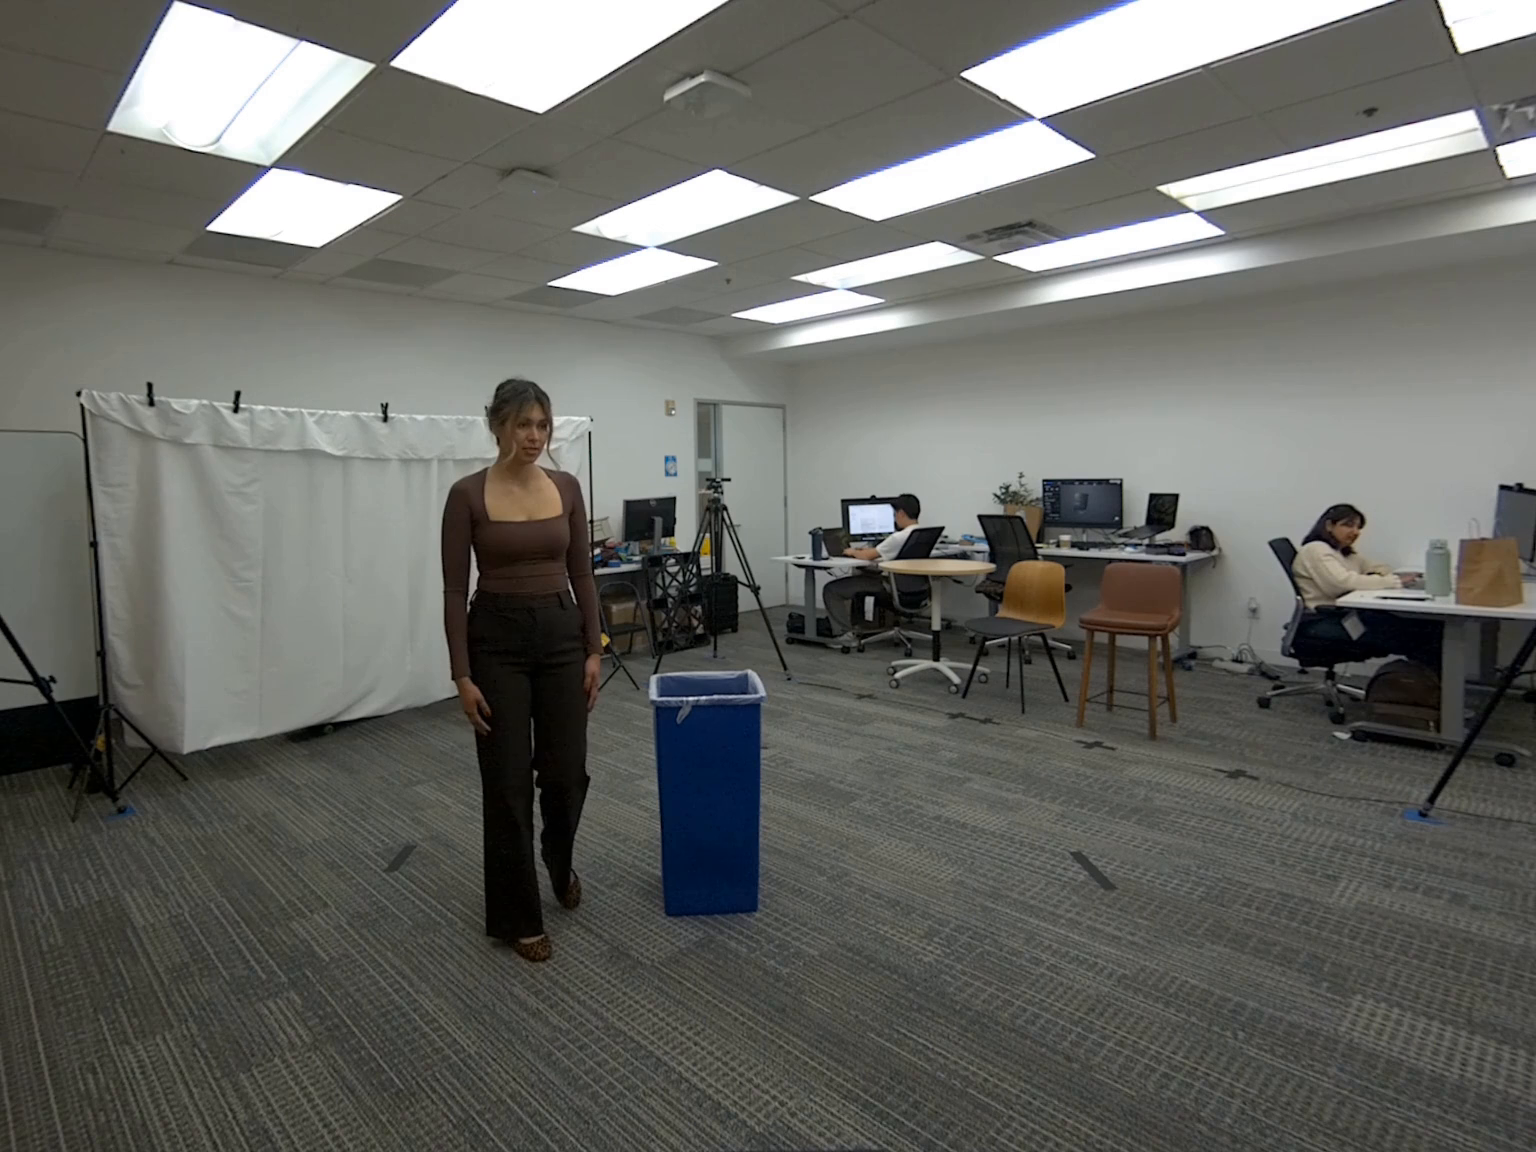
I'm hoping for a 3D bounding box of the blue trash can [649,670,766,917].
[{"bbox_3d":[-0.196,0.711,2.876,0.372,0.711,0.381,-2,4,-6],"label":"blue trash can"}]
